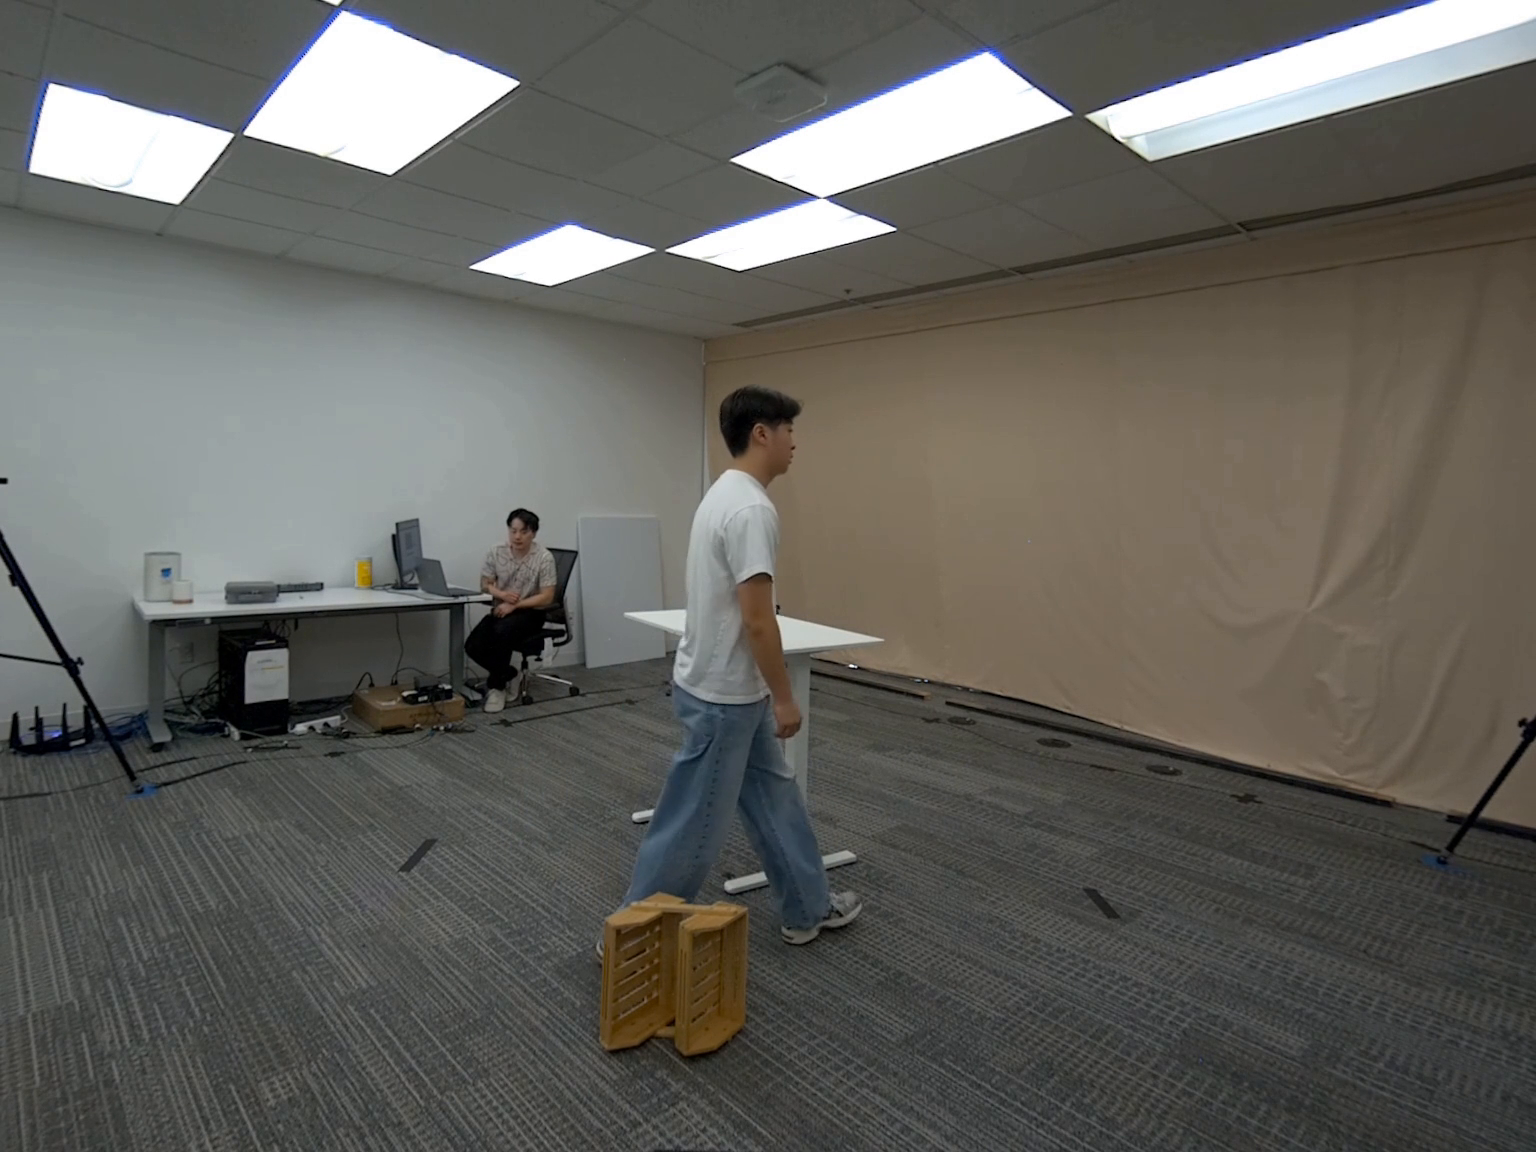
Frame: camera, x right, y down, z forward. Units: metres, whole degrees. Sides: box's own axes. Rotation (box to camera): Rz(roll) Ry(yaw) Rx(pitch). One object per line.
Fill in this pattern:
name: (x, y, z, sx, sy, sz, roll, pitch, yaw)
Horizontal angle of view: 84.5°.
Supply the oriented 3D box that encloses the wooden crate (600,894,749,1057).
wooden crate: (-0.241, 1.031, 2.152, 0.279, 0.325, 0.295, -1, -2, 29)
